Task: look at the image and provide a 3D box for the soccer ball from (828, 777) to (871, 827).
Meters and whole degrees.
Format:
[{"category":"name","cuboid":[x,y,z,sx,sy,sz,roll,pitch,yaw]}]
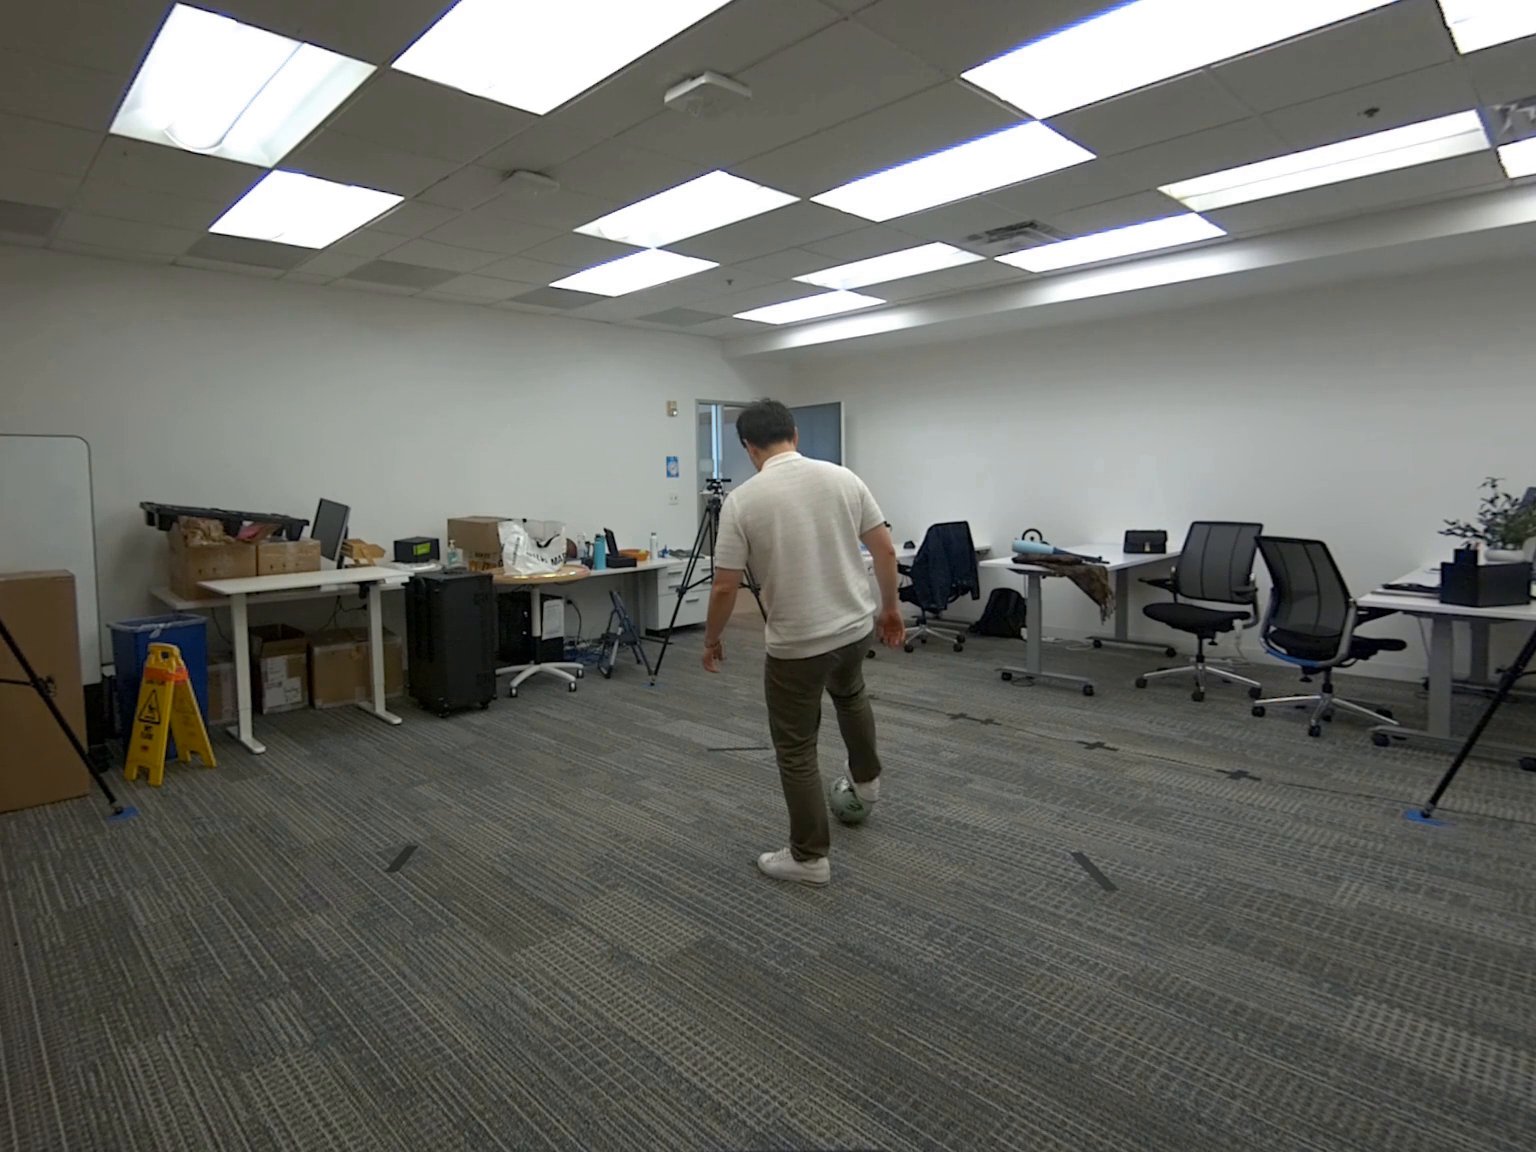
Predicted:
[{"category":"soccer ball","cuboid":[0.331,0.902,3.458,0.187,0.187,0.188,-1,5,-2]}]
